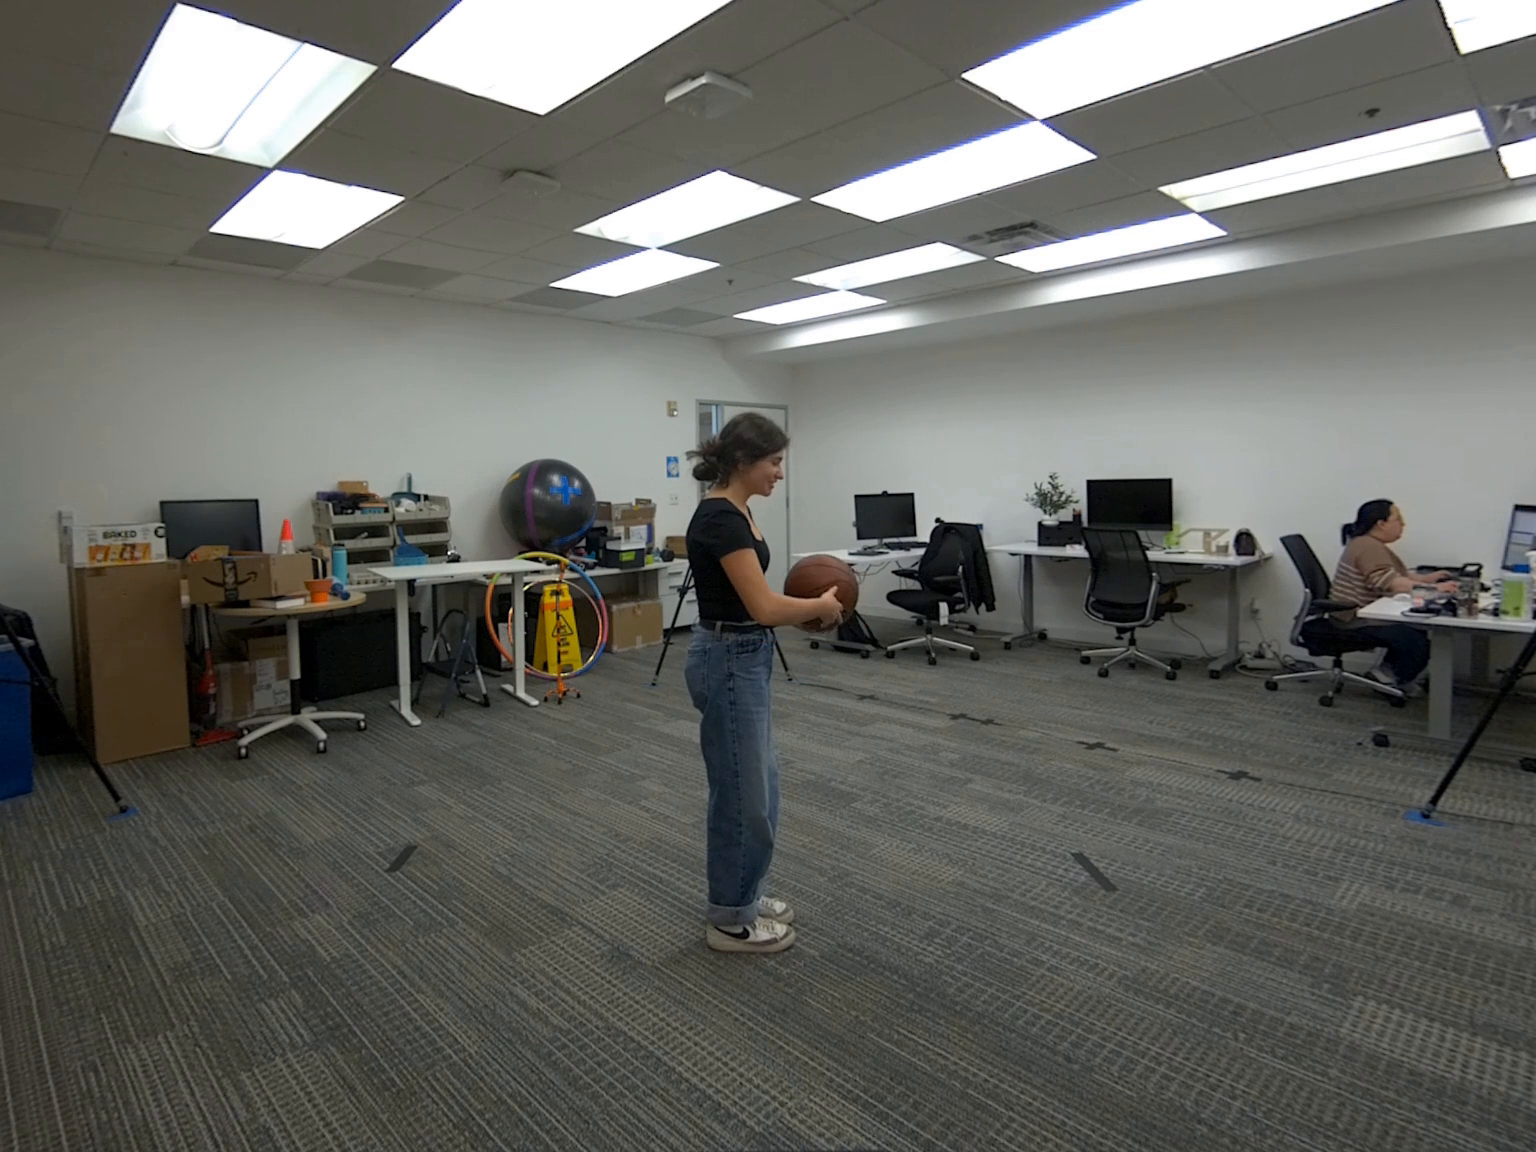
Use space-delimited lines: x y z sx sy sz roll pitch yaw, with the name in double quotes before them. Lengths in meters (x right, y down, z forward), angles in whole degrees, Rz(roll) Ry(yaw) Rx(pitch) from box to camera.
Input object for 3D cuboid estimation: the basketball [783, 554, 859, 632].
"basketball" 0.163 0.057 2.700 0.236 0.235 0.237 -1 5 -2
